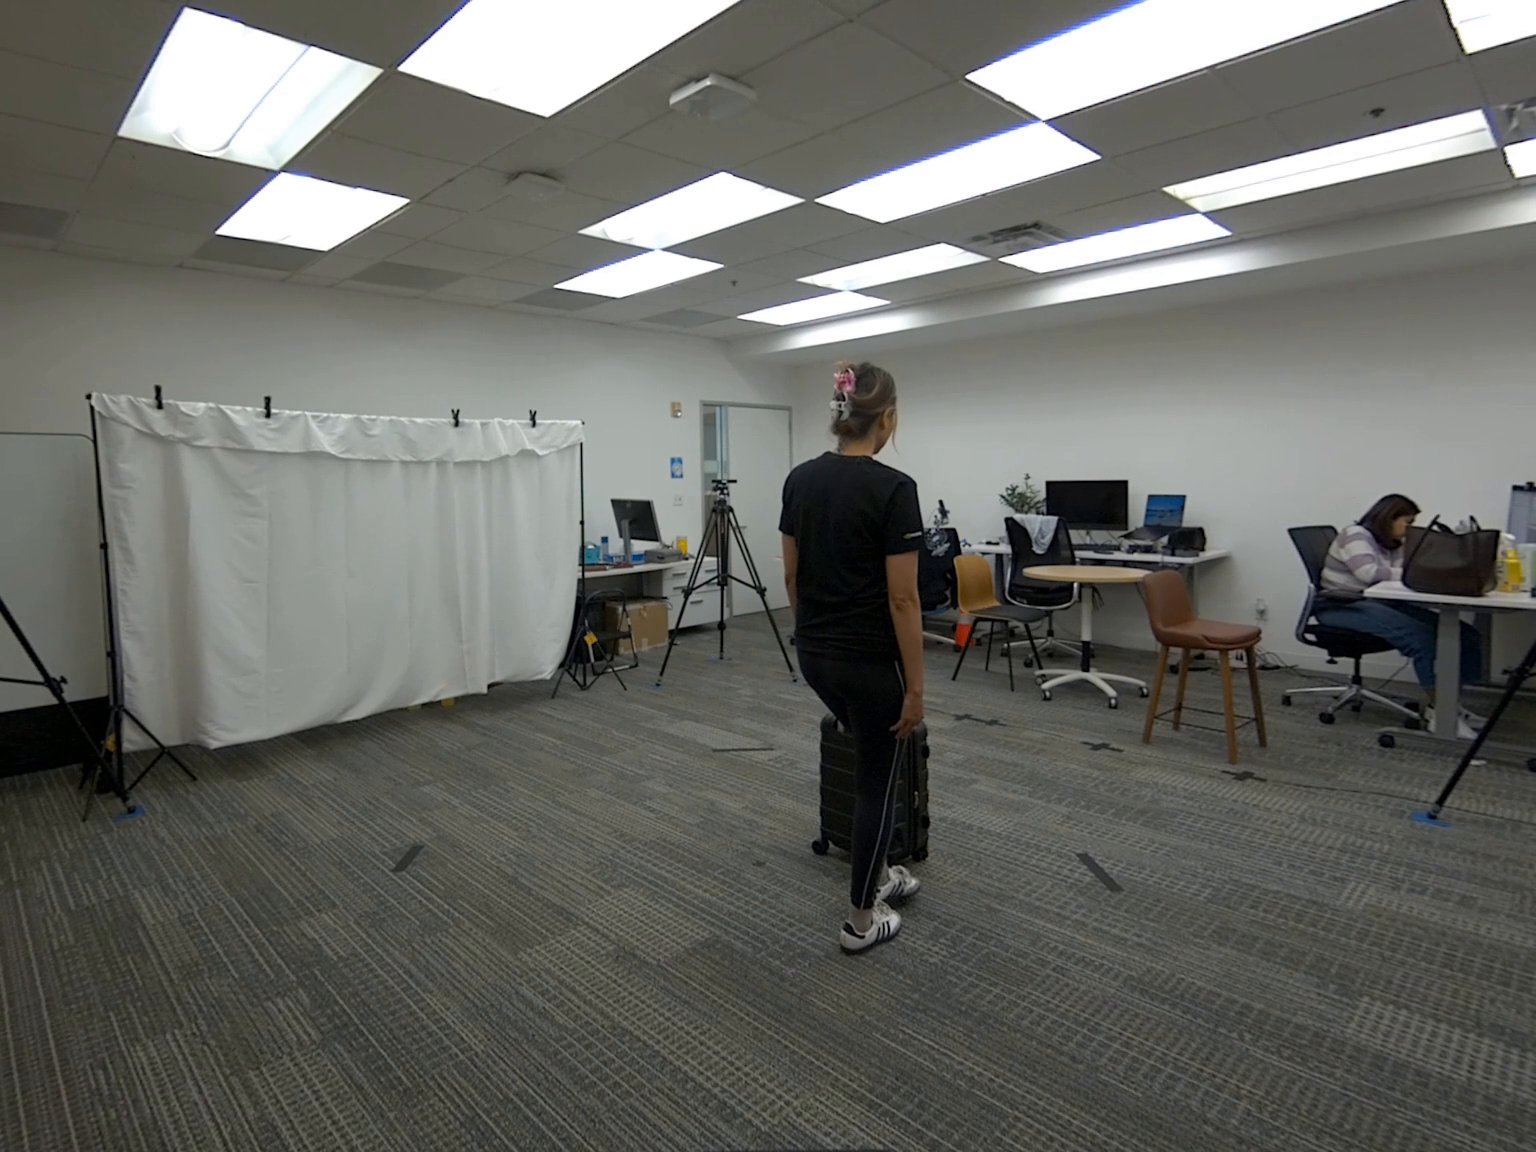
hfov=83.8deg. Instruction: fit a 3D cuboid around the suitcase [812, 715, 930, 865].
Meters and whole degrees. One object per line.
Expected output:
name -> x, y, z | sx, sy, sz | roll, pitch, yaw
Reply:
suitcase -> 0.395, 0.565, 3.123 | 0.250, 0.976, 0.396 | 0, 4, -42
